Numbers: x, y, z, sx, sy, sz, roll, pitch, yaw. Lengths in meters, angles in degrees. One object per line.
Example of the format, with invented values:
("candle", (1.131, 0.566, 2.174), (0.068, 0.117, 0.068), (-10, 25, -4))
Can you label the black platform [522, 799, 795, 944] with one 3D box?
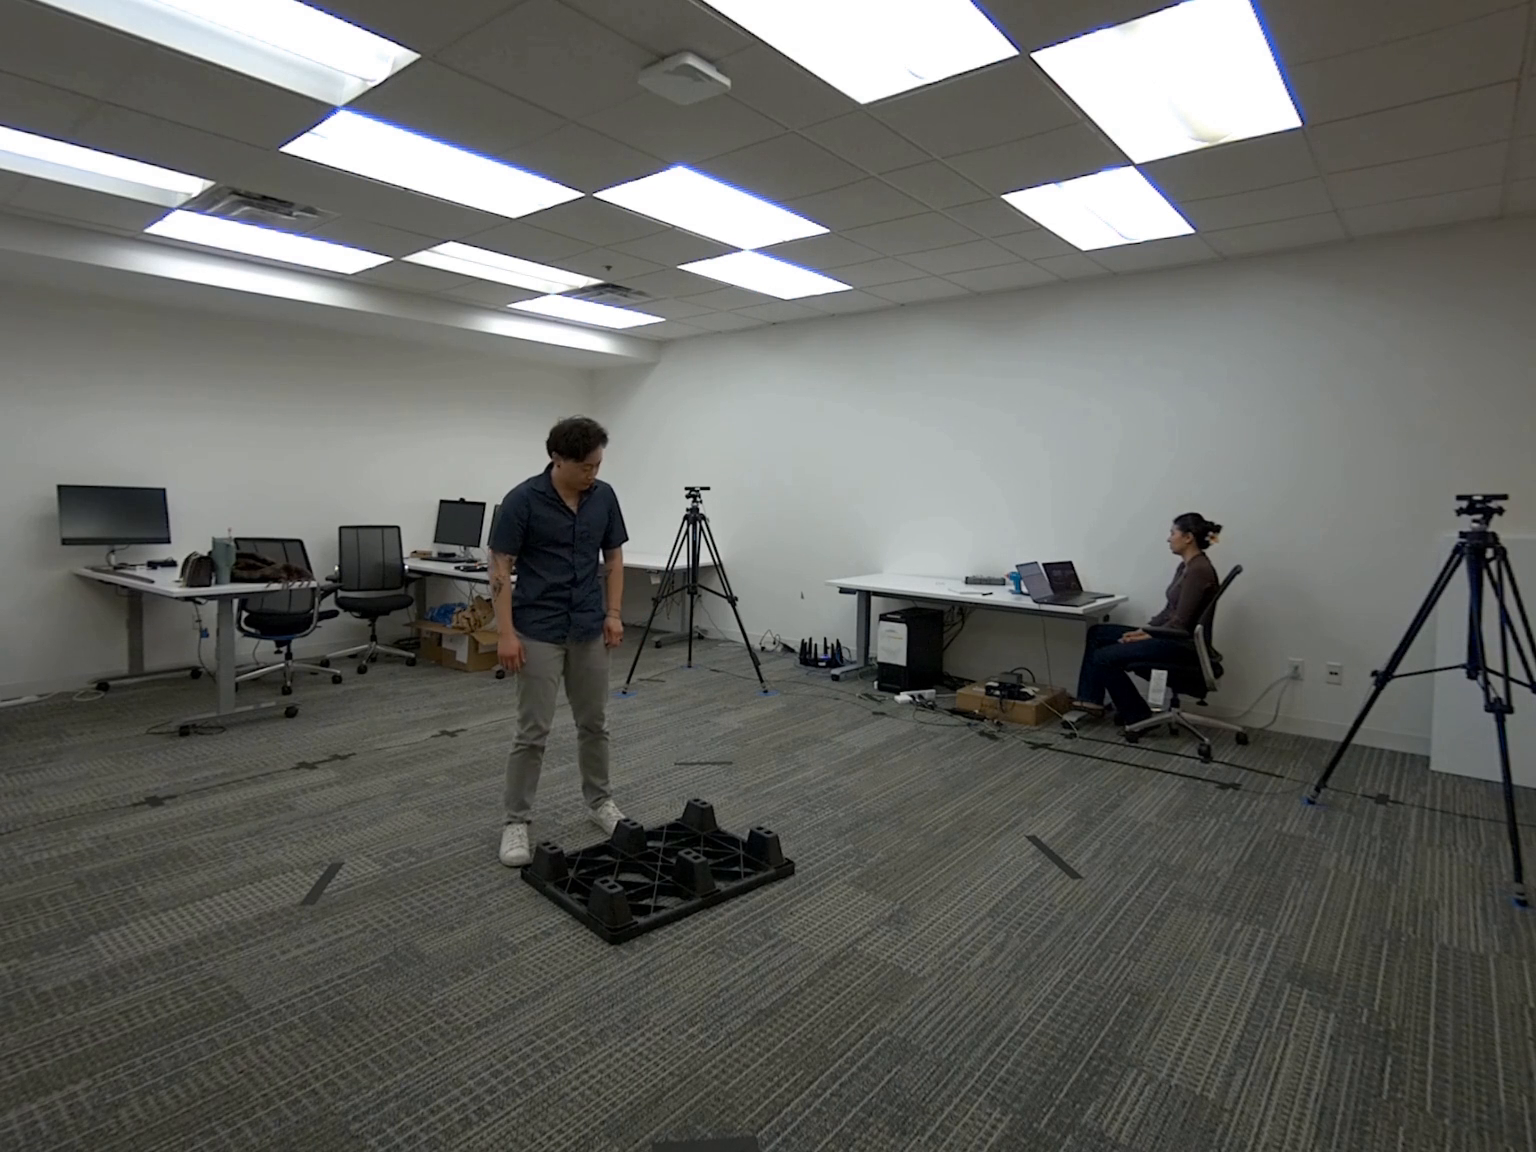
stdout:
("black platform", (-0.397, 1.003, 3.047), (0.781, 0.143, 0.626), (-4, 8, -43))
